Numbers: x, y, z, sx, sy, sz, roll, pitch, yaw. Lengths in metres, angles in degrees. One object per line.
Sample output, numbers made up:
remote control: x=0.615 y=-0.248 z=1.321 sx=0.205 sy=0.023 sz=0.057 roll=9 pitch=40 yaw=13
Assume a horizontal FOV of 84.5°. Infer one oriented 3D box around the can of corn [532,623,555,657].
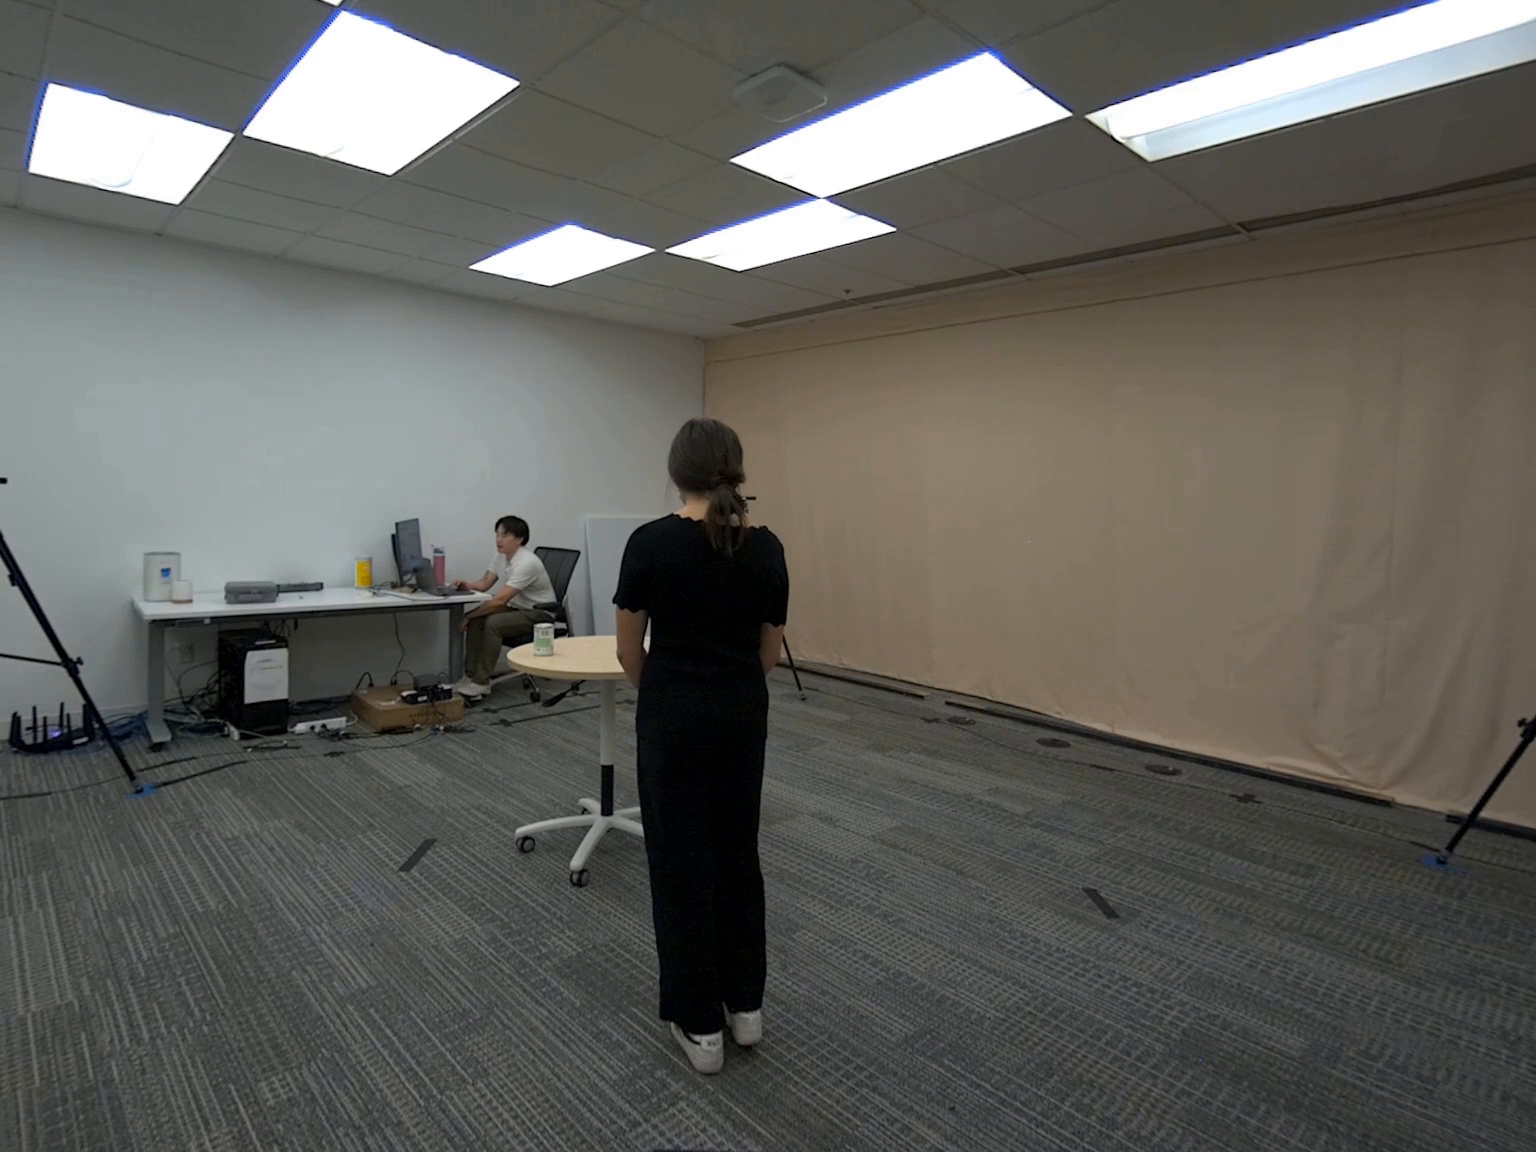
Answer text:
can of corn: x=-0.854 y=0.244 z=3.192 sx=0.074 sy=0.111 sz=0.074 roll=-1 pitch=3 yaw=-1
